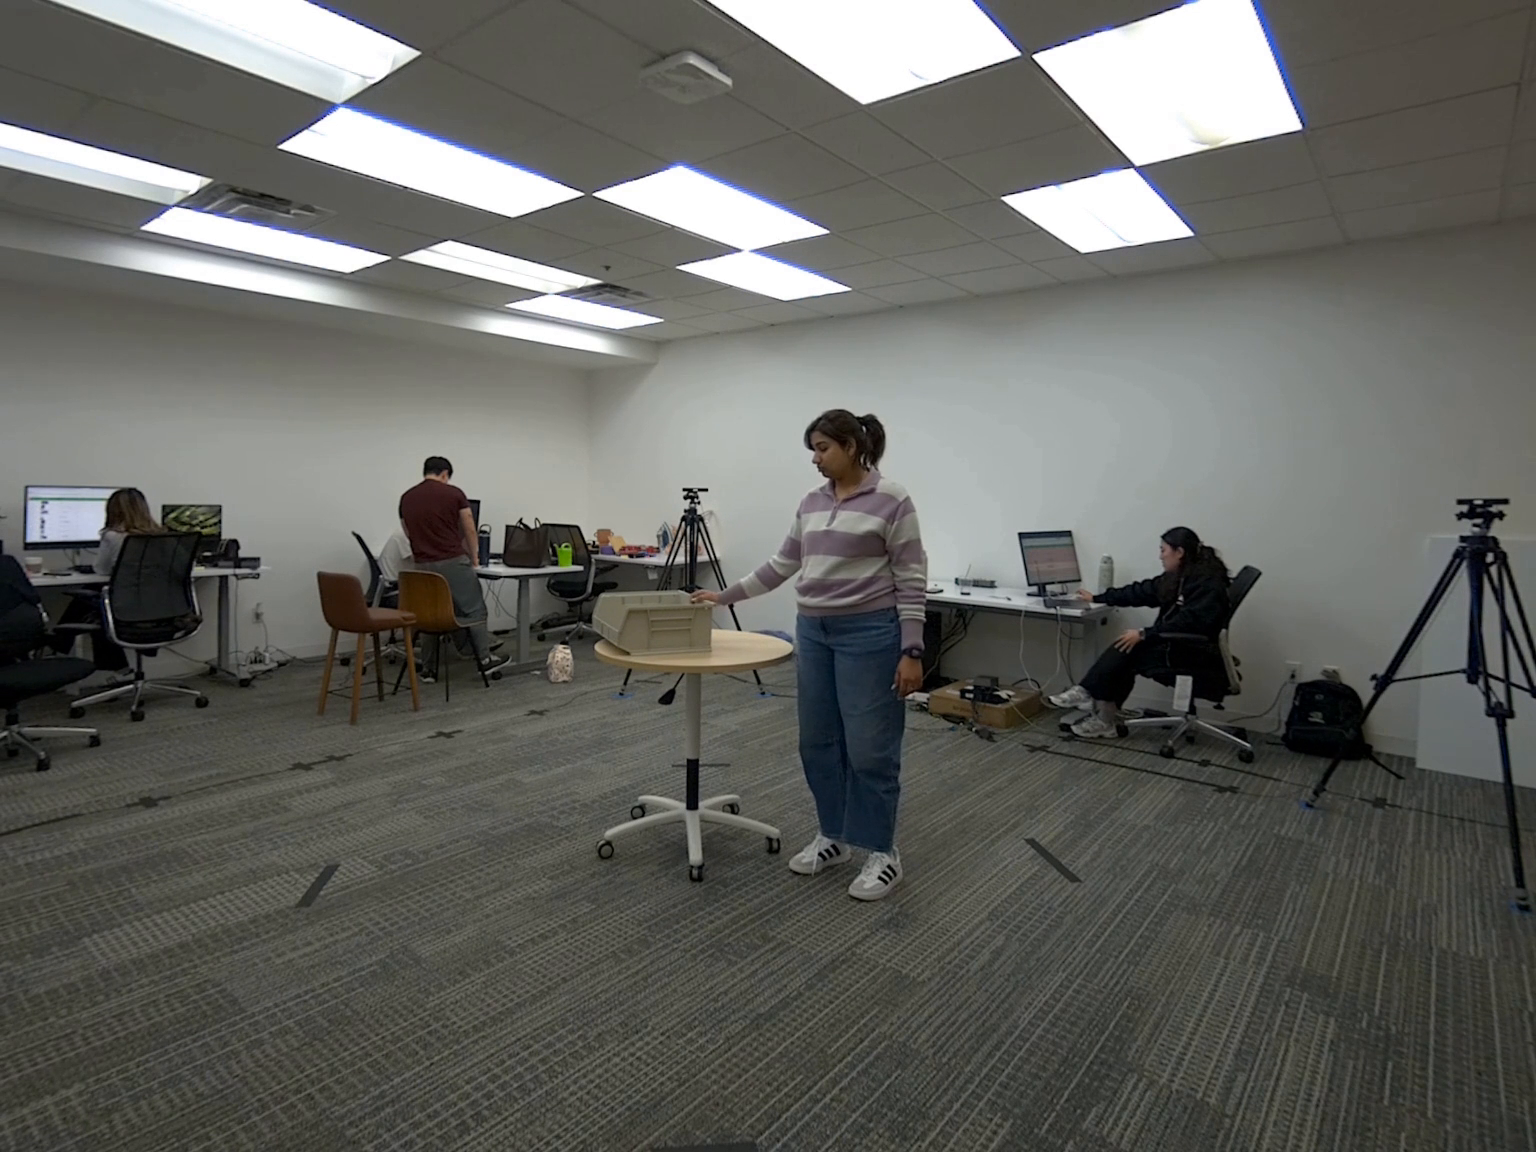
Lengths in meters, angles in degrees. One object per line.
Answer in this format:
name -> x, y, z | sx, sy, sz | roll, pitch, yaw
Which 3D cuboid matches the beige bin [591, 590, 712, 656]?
beige bin -> -0.459, 0.177, 3.304 | 0.369, 0.188, 0.434 | -1, 5, -25
